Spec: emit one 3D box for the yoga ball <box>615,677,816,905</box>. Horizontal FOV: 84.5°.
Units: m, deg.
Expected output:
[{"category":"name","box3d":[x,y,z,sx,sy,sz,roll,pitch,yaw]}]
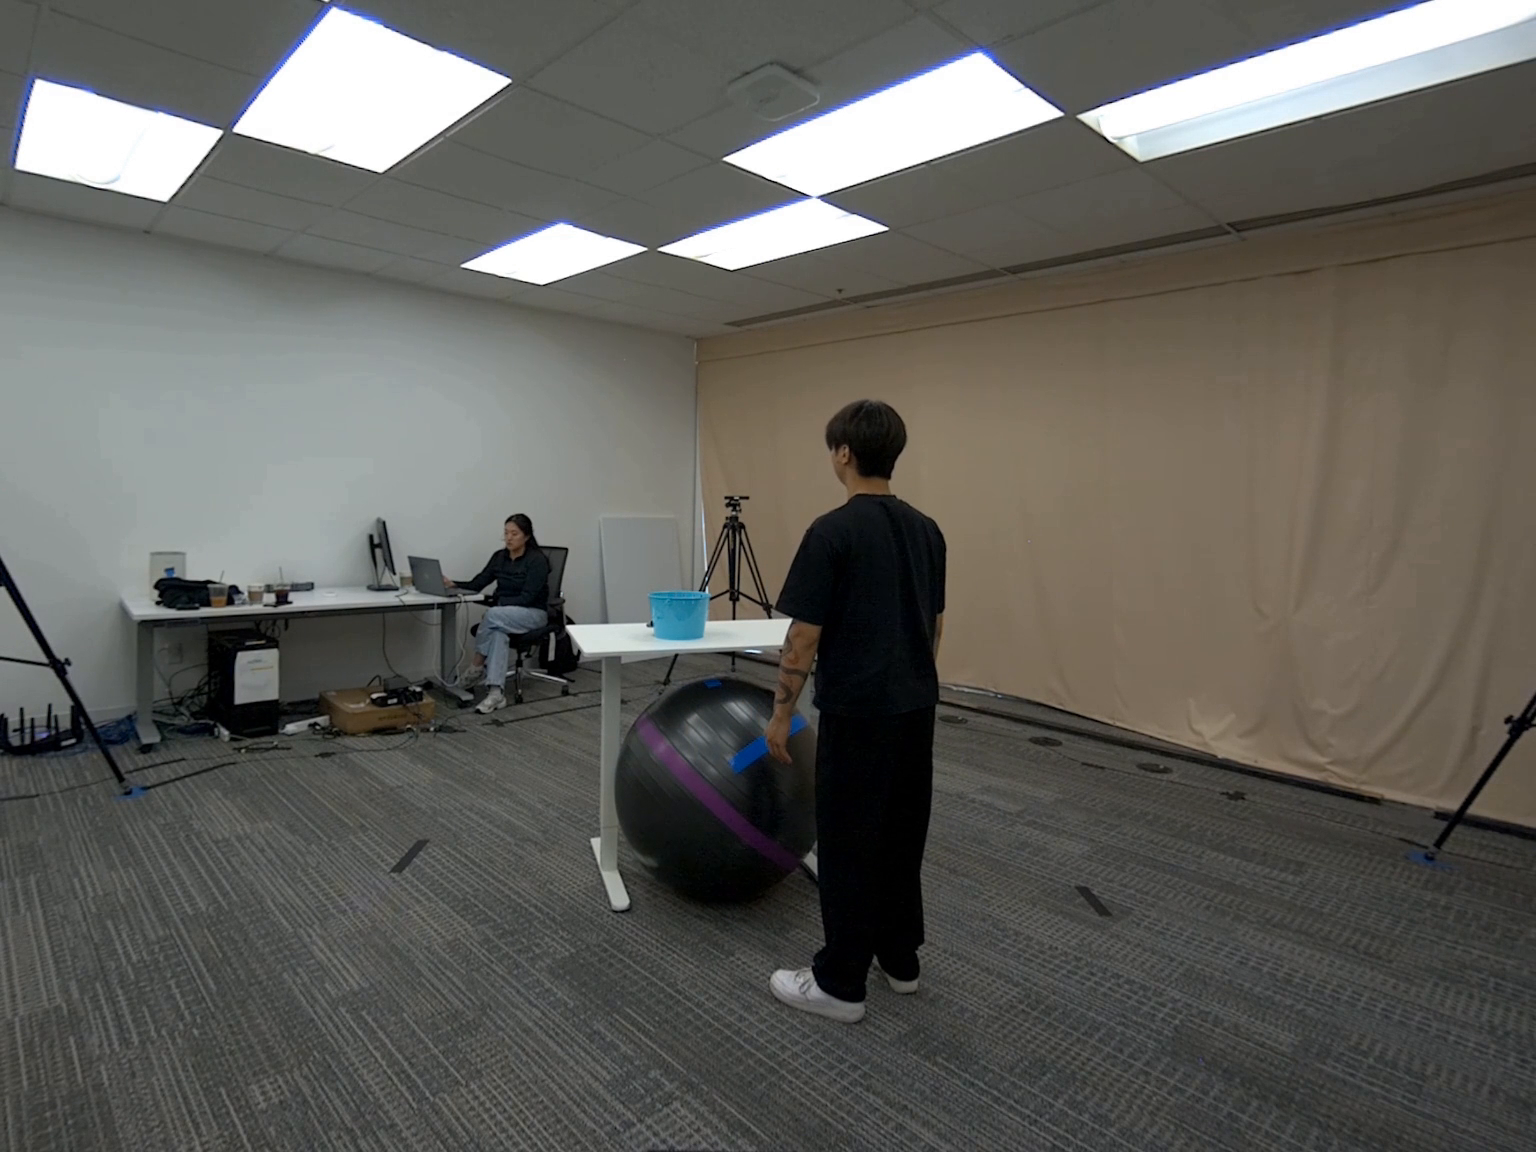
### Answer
[{"category":"yoga ball","box3d":[-0.175,0.752,3.004,0.757,0.756,0.761,1,4,-1]}]
